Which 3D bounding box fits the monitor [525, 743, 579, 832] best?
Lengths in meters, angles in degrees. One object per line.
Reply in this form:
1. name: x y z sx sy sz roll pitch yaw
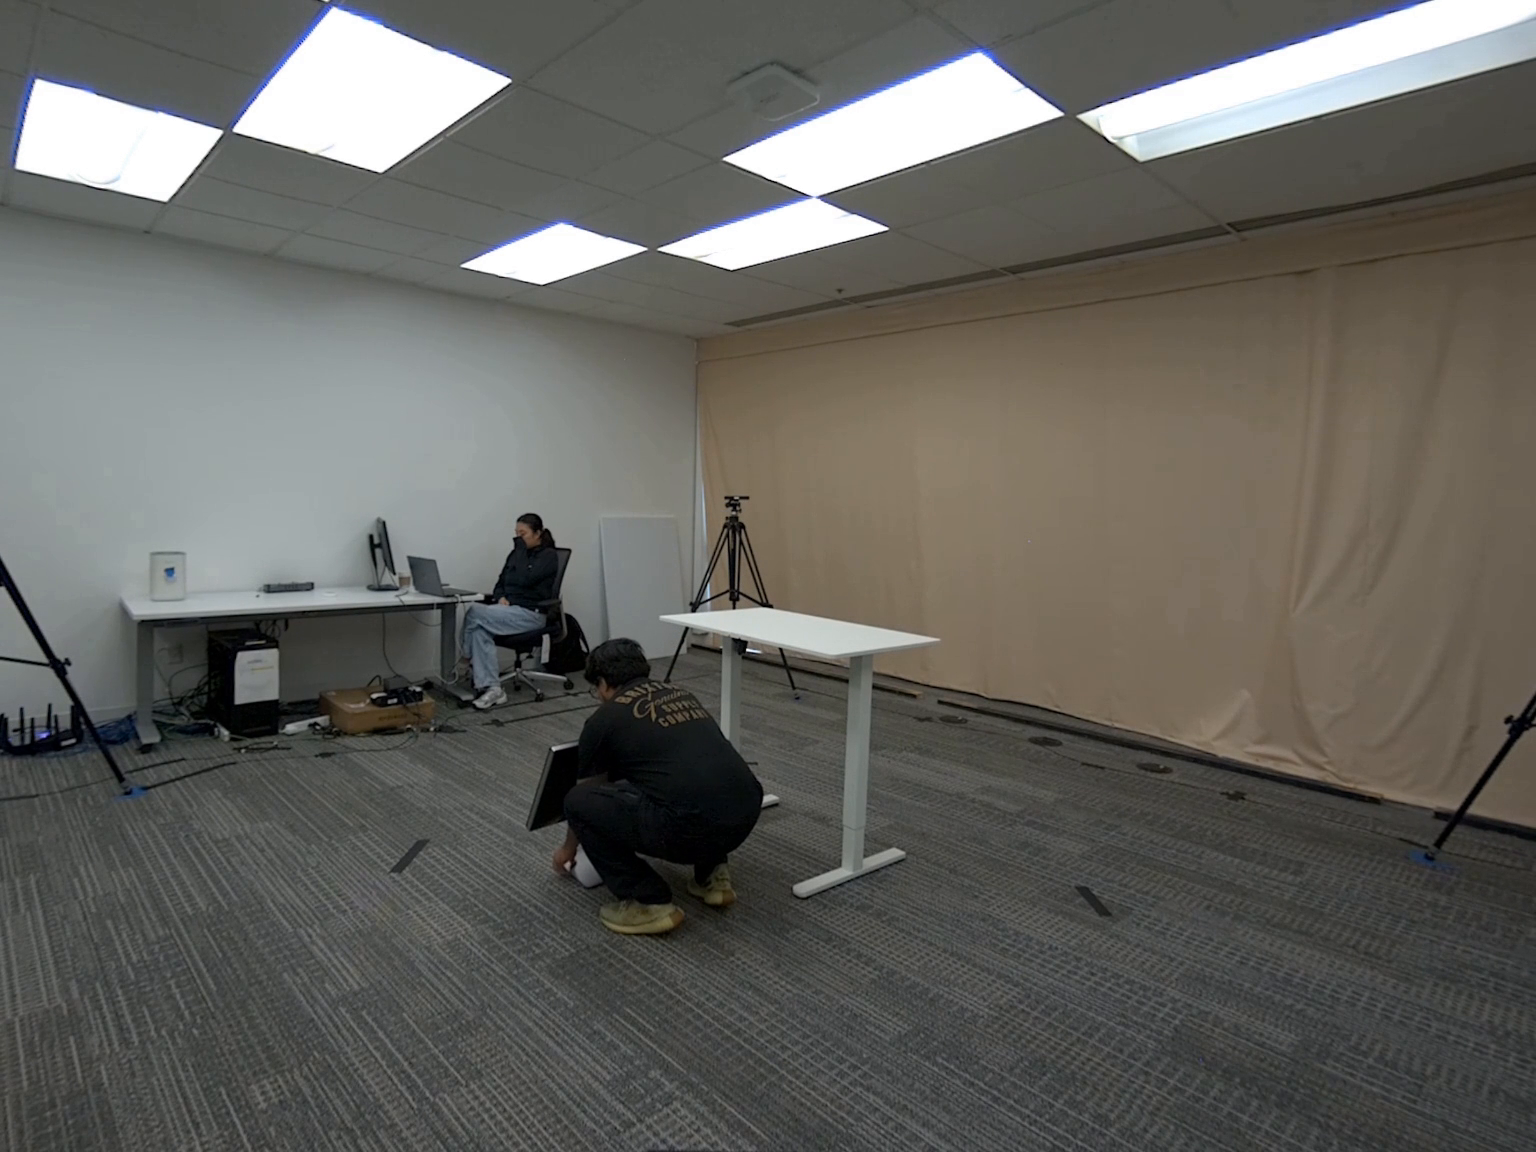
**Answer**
1. monitor: -0.564 0.824 3.049 0.553 0.549 0.217 -4 24 -46
